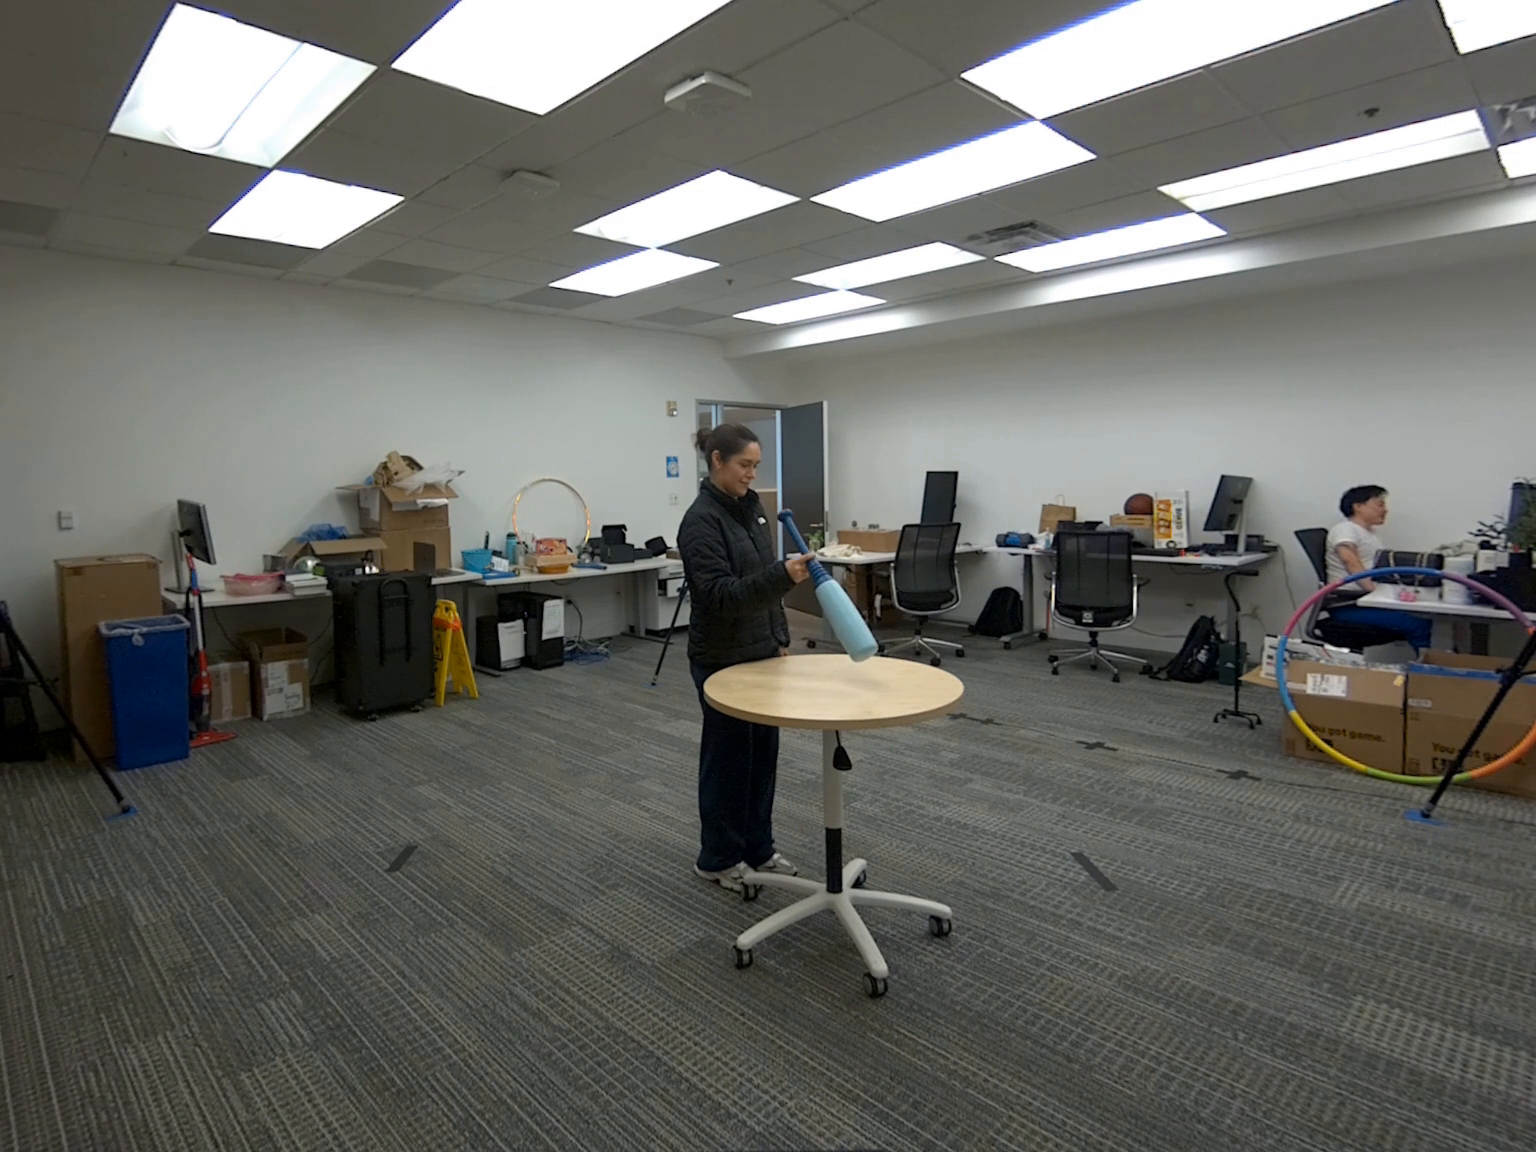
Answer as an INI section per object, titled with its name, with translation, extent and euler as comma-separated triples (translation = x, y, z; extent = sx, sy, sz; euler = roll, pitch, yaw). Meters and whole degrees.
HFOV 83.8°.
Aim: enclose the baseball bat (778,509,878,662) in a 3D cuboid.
[baseball bat]
translation = 0.177, 0.014, 2.581
extent = 0.088, 0.560, 0.087
euler = -22, -29, -14
